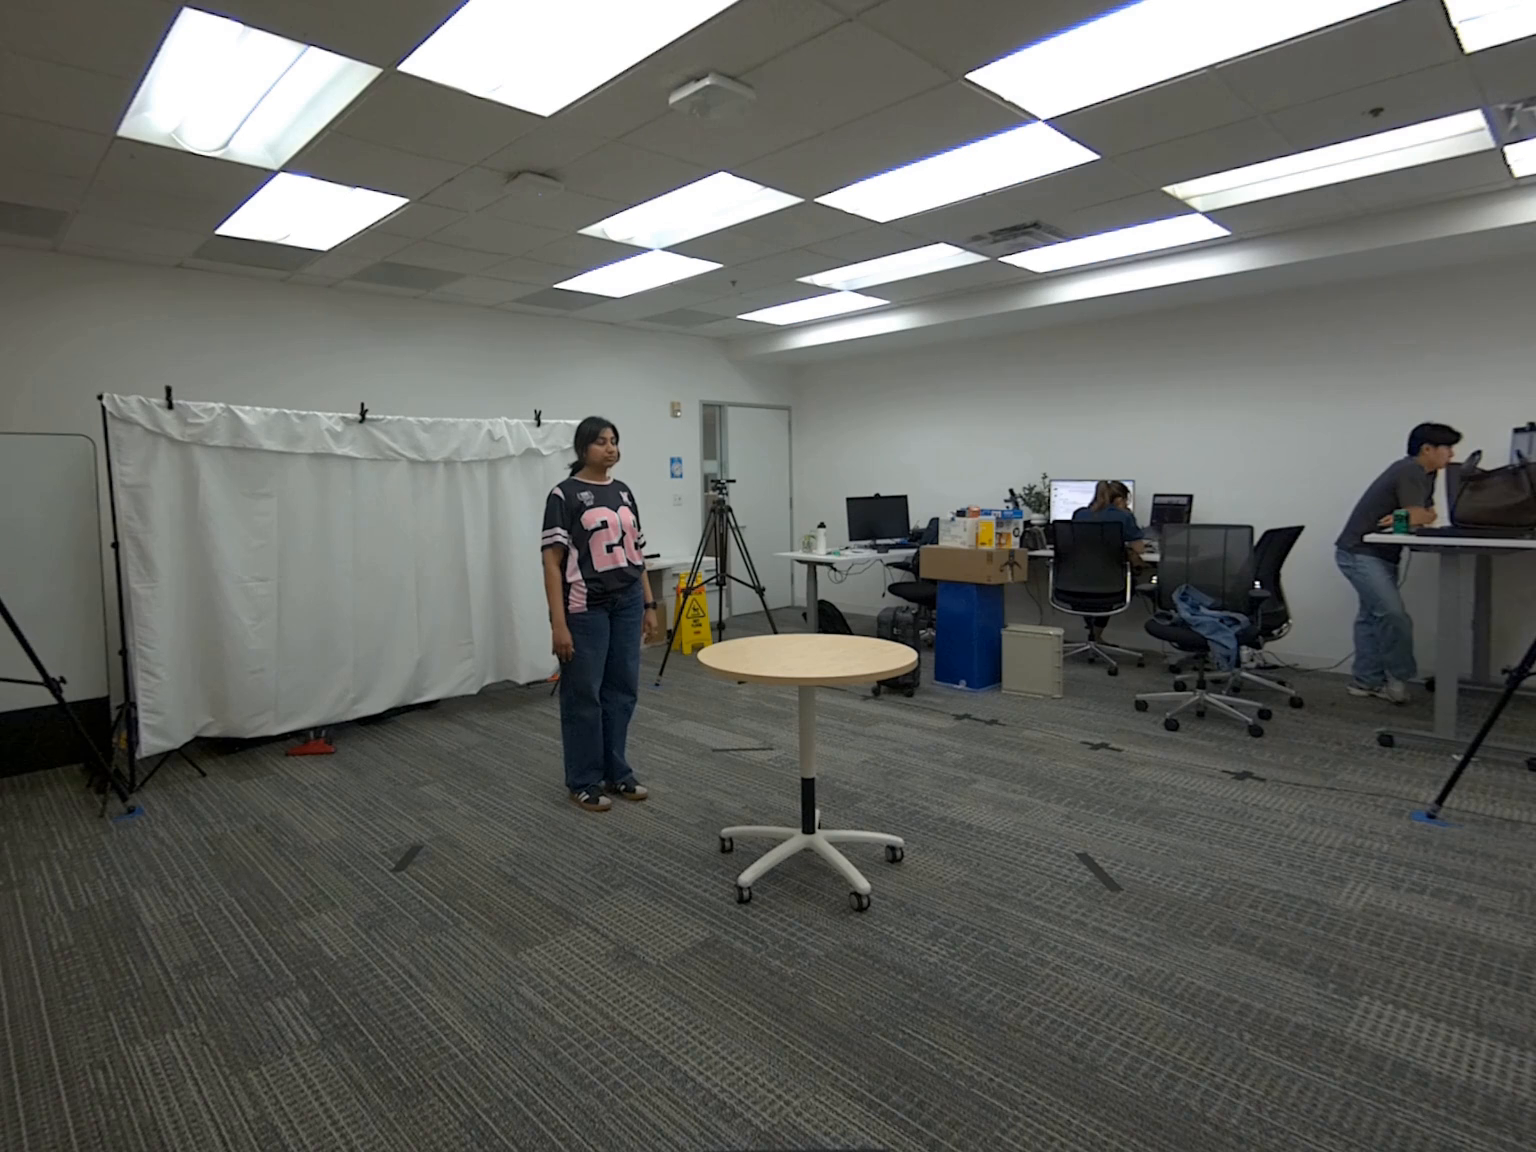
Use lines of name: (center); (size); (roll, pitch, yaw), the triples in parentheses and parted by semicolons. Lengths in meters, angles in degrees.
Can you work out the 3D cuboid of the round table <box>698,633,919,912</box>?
round table: (0.145, 0.663, 3.011); (0.784, 0.784, 0.789); (-1, 4, -2)
